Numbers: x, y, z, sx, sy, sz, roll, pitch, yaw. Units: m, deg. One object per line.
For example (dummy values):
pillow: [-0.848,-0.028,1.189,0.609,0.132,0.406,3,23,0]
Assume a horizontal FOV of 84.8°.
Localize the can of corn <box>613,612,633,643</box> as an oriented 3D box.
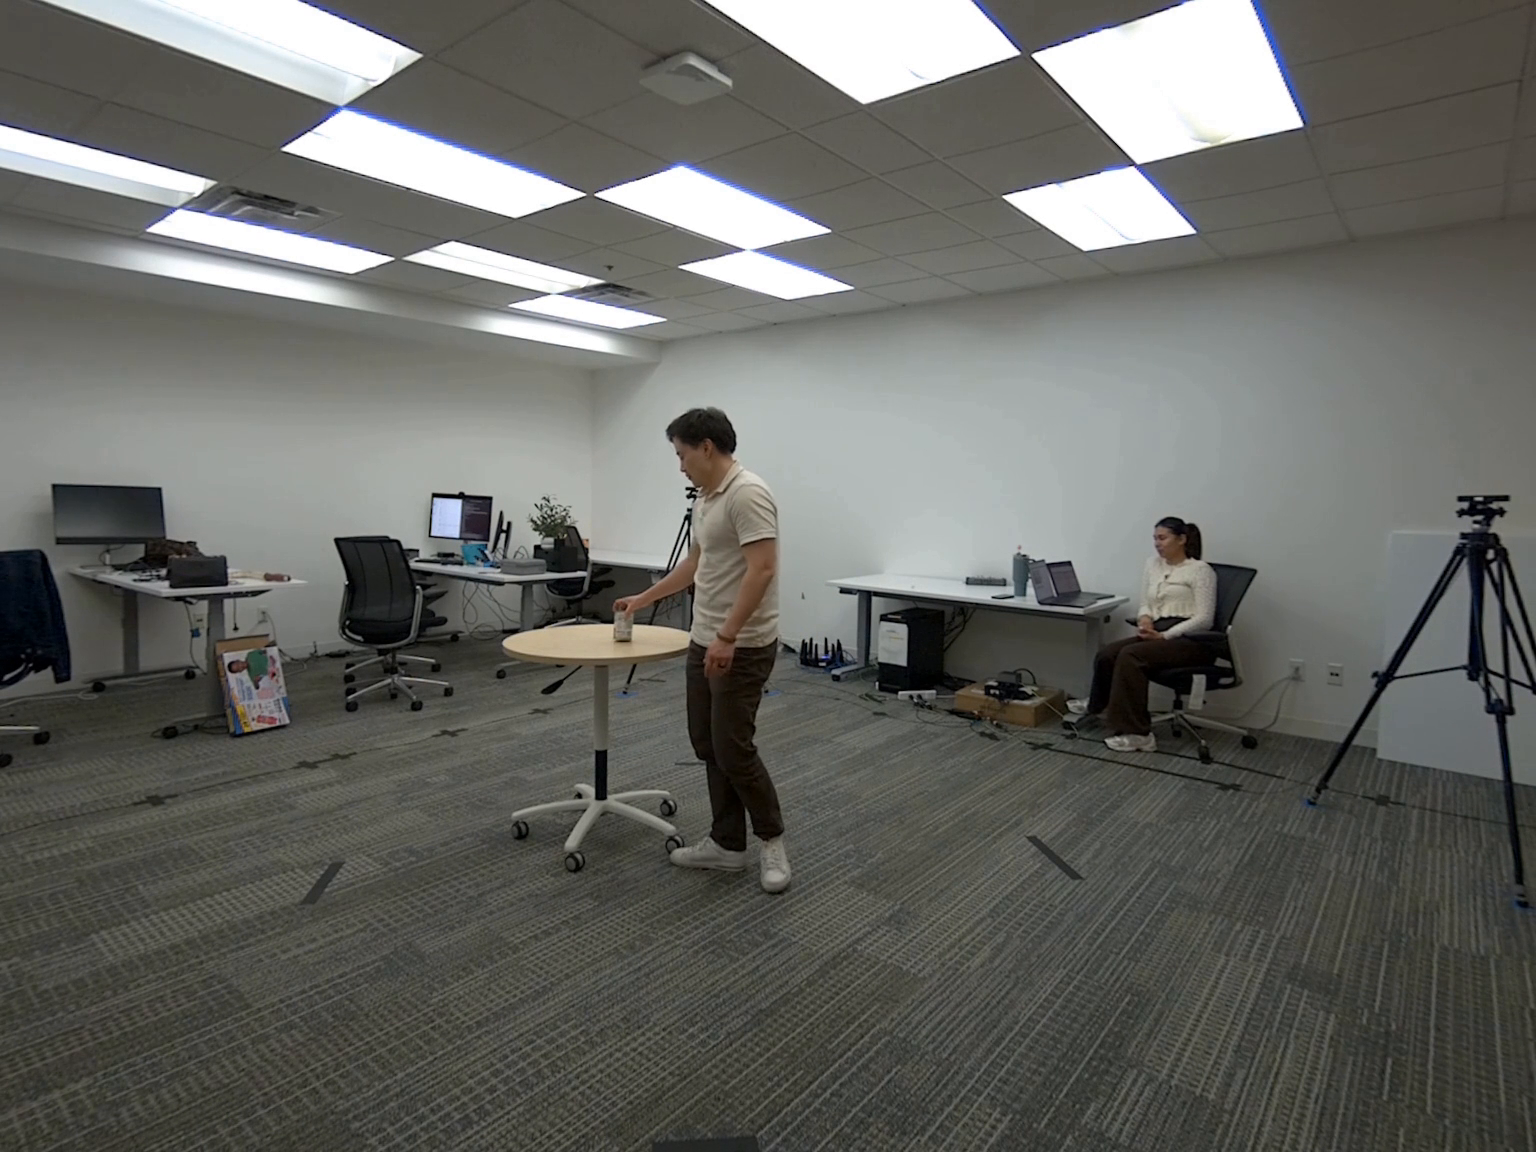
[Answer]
can of corn: [-0.575,0.197,3.348,0.074,0.111,0.074,5,-3,-2]
